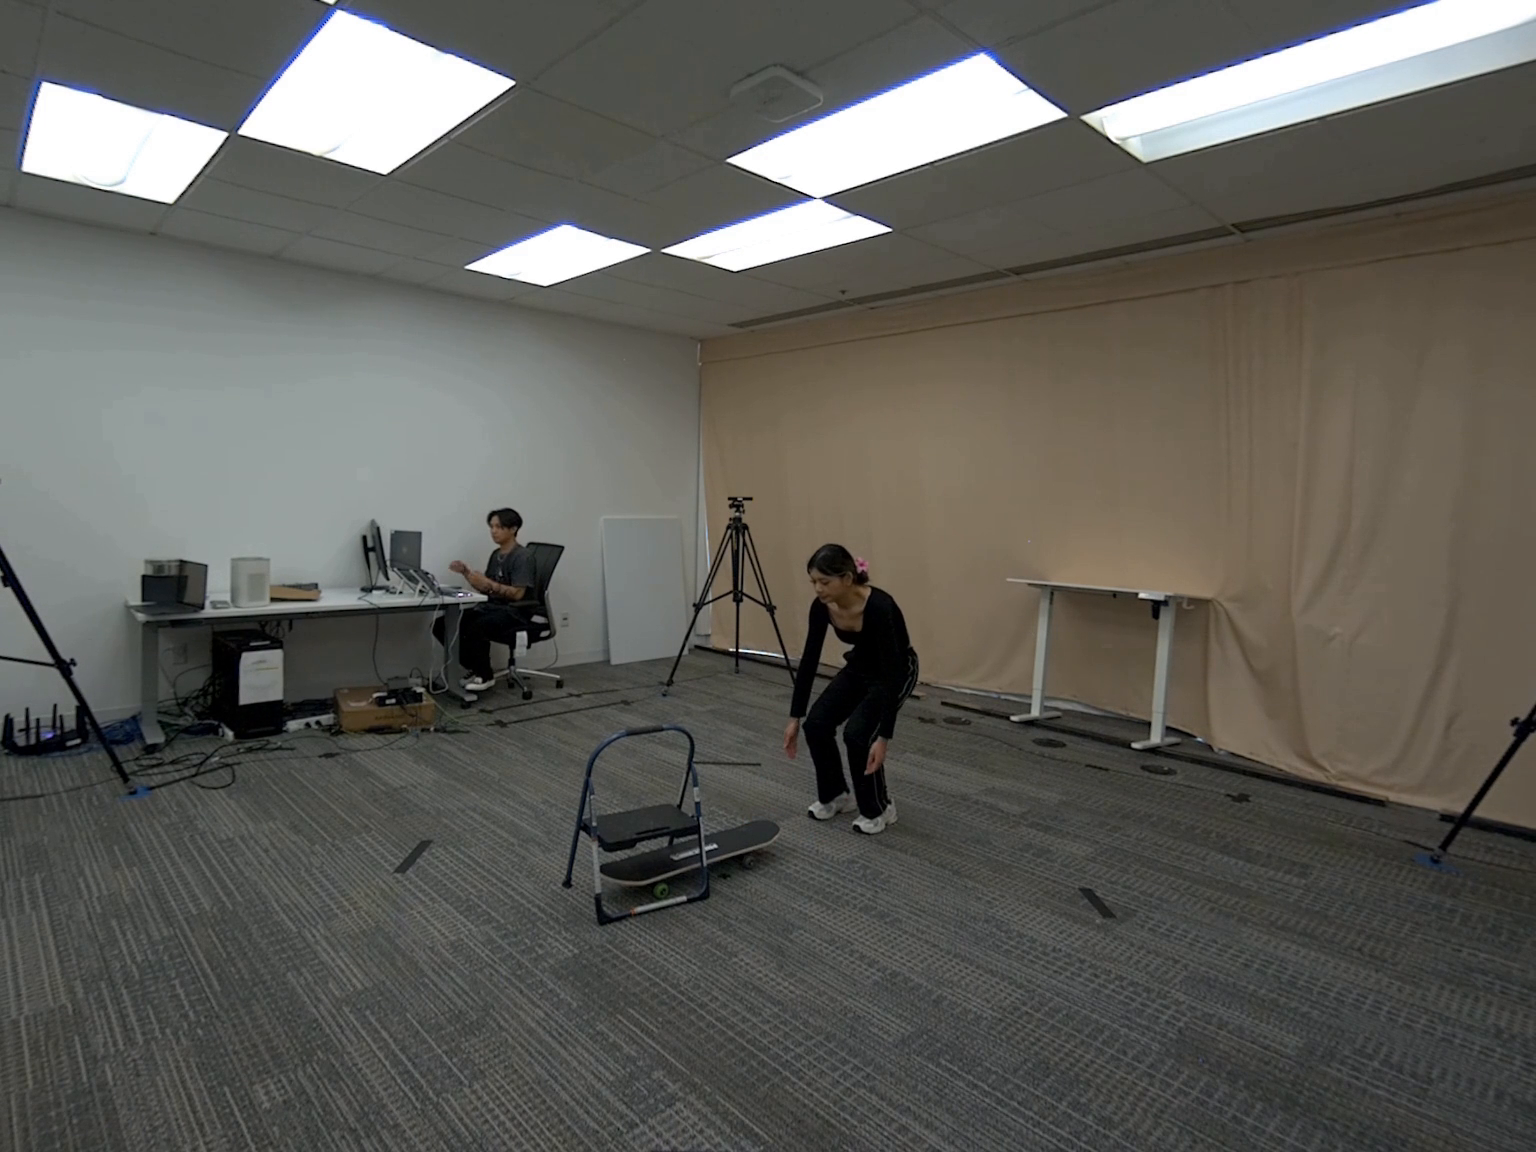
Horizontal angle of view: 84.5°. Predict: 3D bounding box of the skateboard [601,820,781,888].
[{"bbox_3d":[-0.277,1.043,3.102,0.768,0.110,0.198,-3,7,-39],"label":"skateboard"}]
